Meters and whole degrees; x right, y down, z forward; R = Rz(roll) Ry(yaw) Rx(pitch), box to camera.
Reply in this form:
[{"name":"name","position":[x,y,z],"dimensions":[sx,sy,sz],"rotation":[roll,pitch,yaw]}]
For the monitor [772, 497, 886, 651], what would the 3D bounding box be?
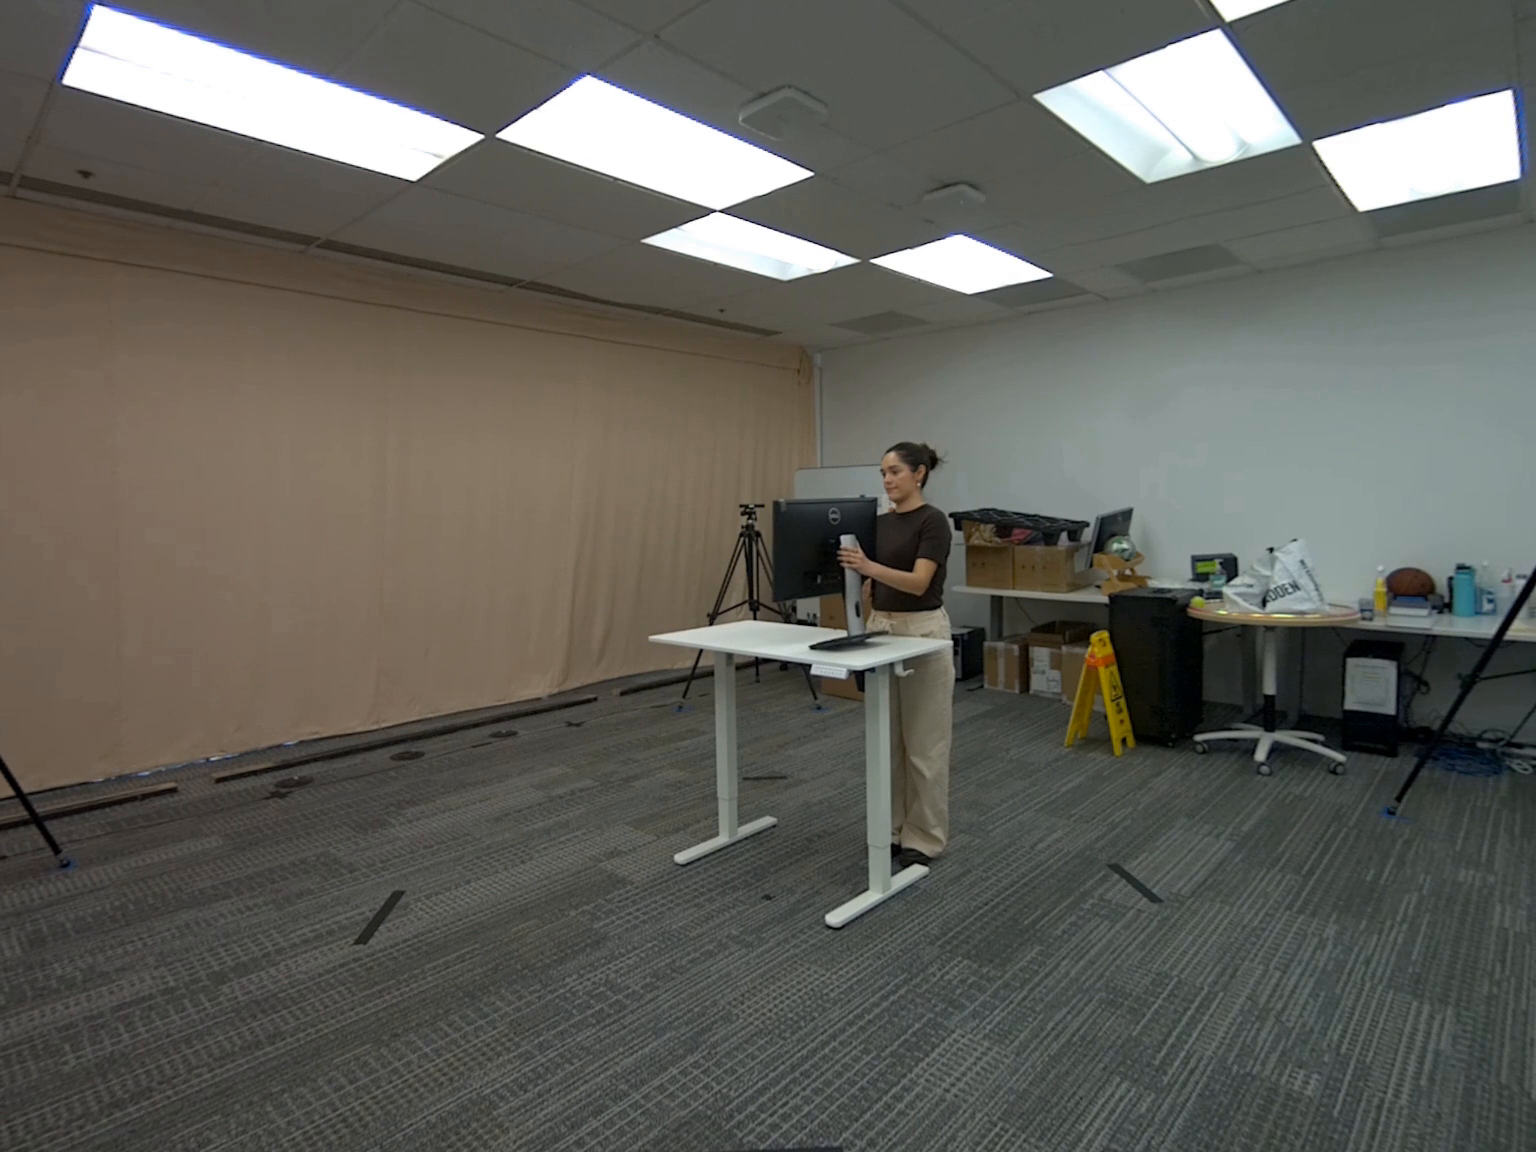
[{"name":"monitor","position":[0.252,-0.019,3.002],"dimensions":[0.523,0.525,0.192],"rotation":[-6,-7,-41]}]
